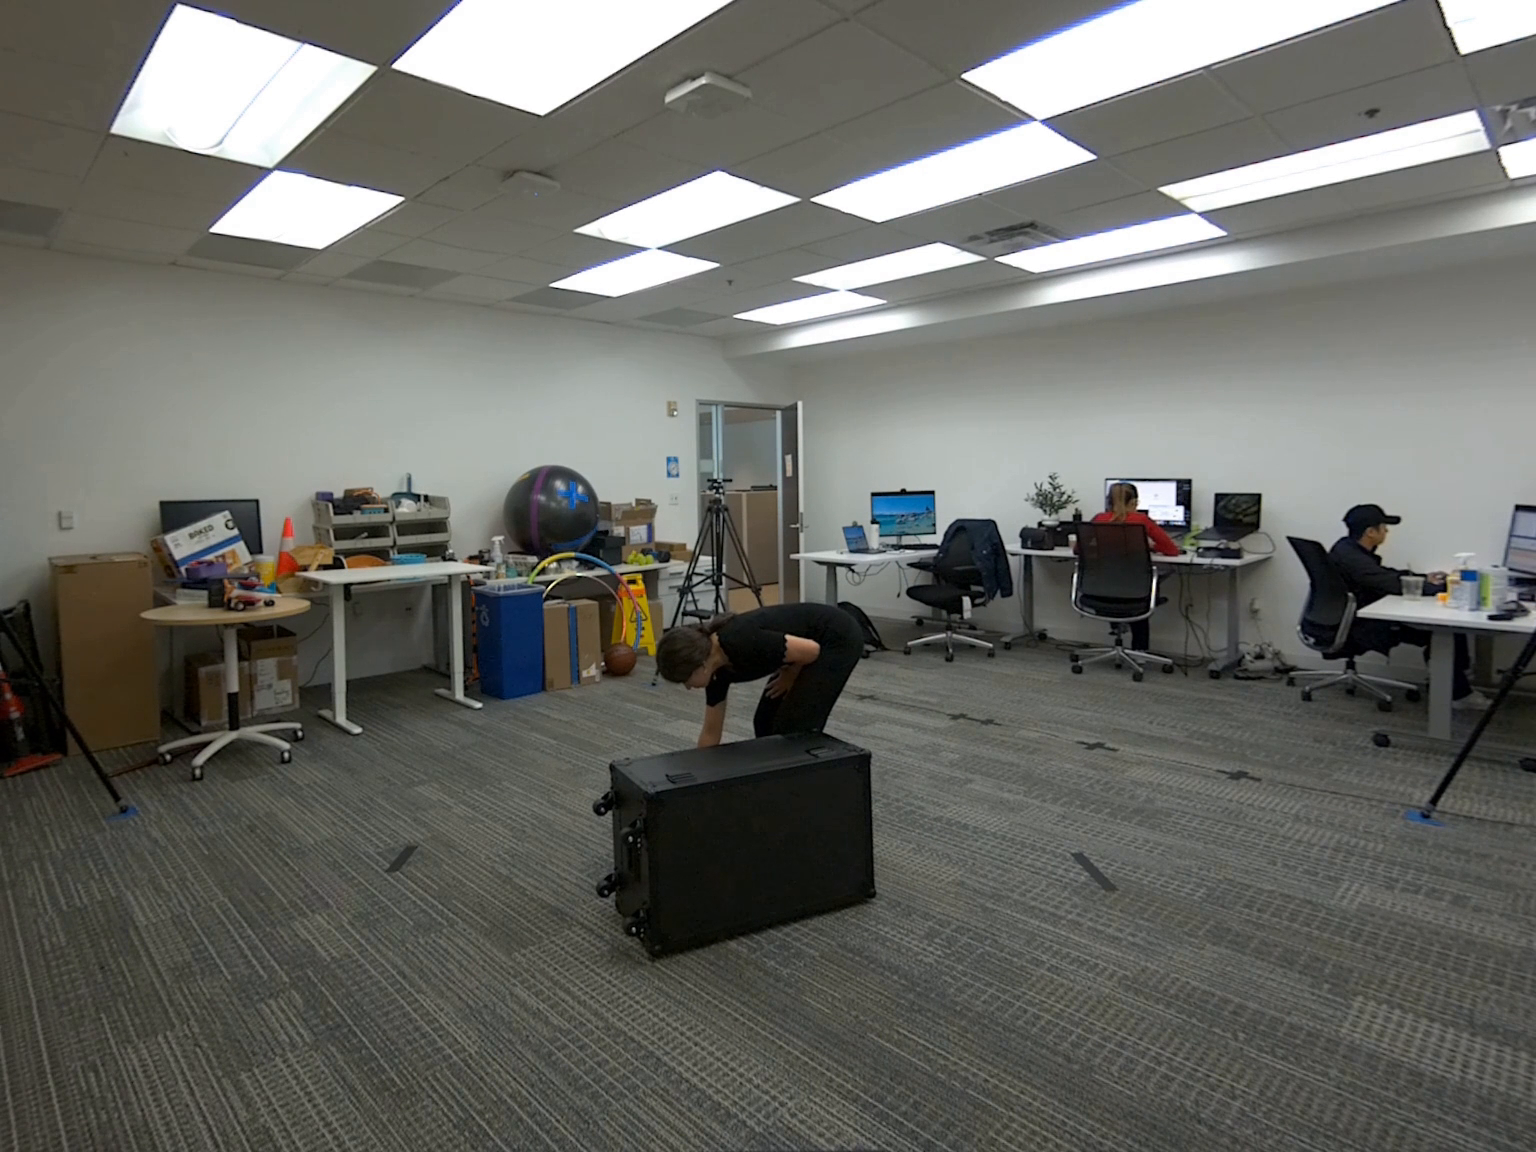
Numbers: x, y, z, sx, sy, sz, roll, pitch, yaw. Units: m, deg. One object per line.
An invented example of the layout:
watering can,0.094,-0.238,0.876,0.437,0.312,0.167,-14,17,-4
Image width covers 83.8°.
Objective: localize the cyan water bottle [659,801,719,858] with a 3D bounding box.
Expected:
cyan water bottle,-0.305,0.982,3.336,0.094,0.092,0.278,1,9,27
